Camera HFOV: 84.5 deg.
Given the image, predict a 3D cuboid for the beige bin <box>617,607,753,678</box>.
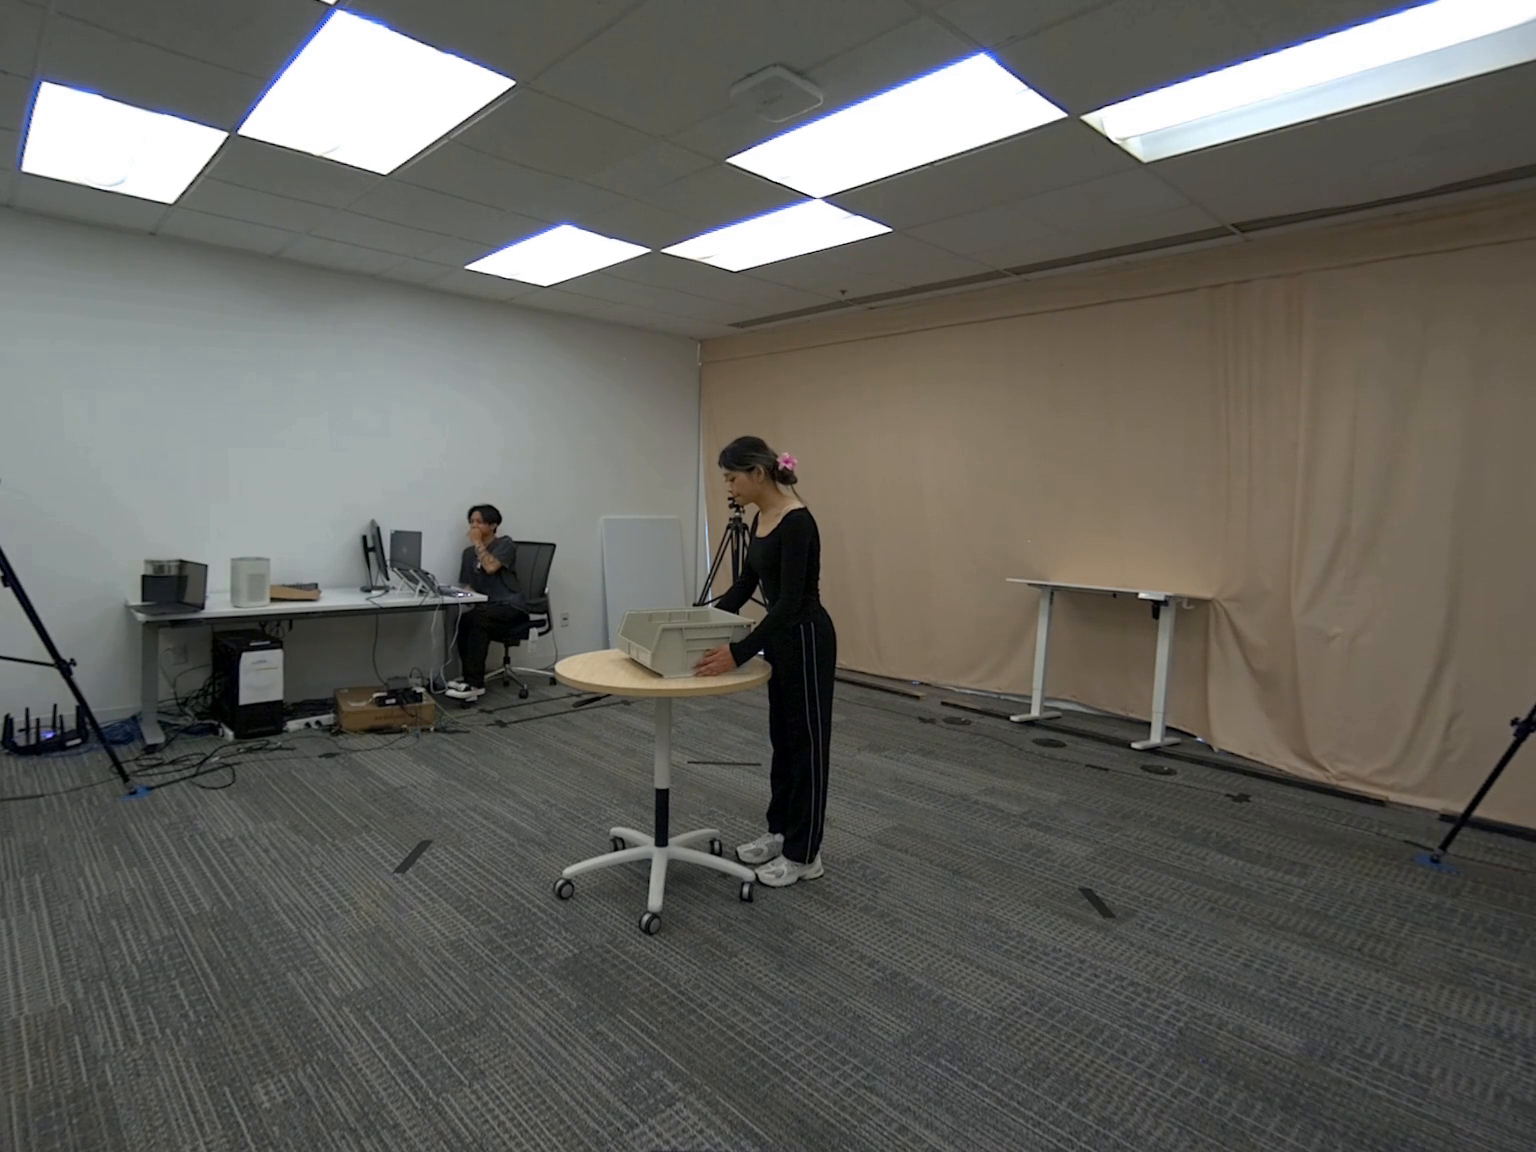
[{"bbox_3d":[-0.311,0.230,2.995,0.371,0.188,0.431,0,4,-25],"label":"beige bin"}]
